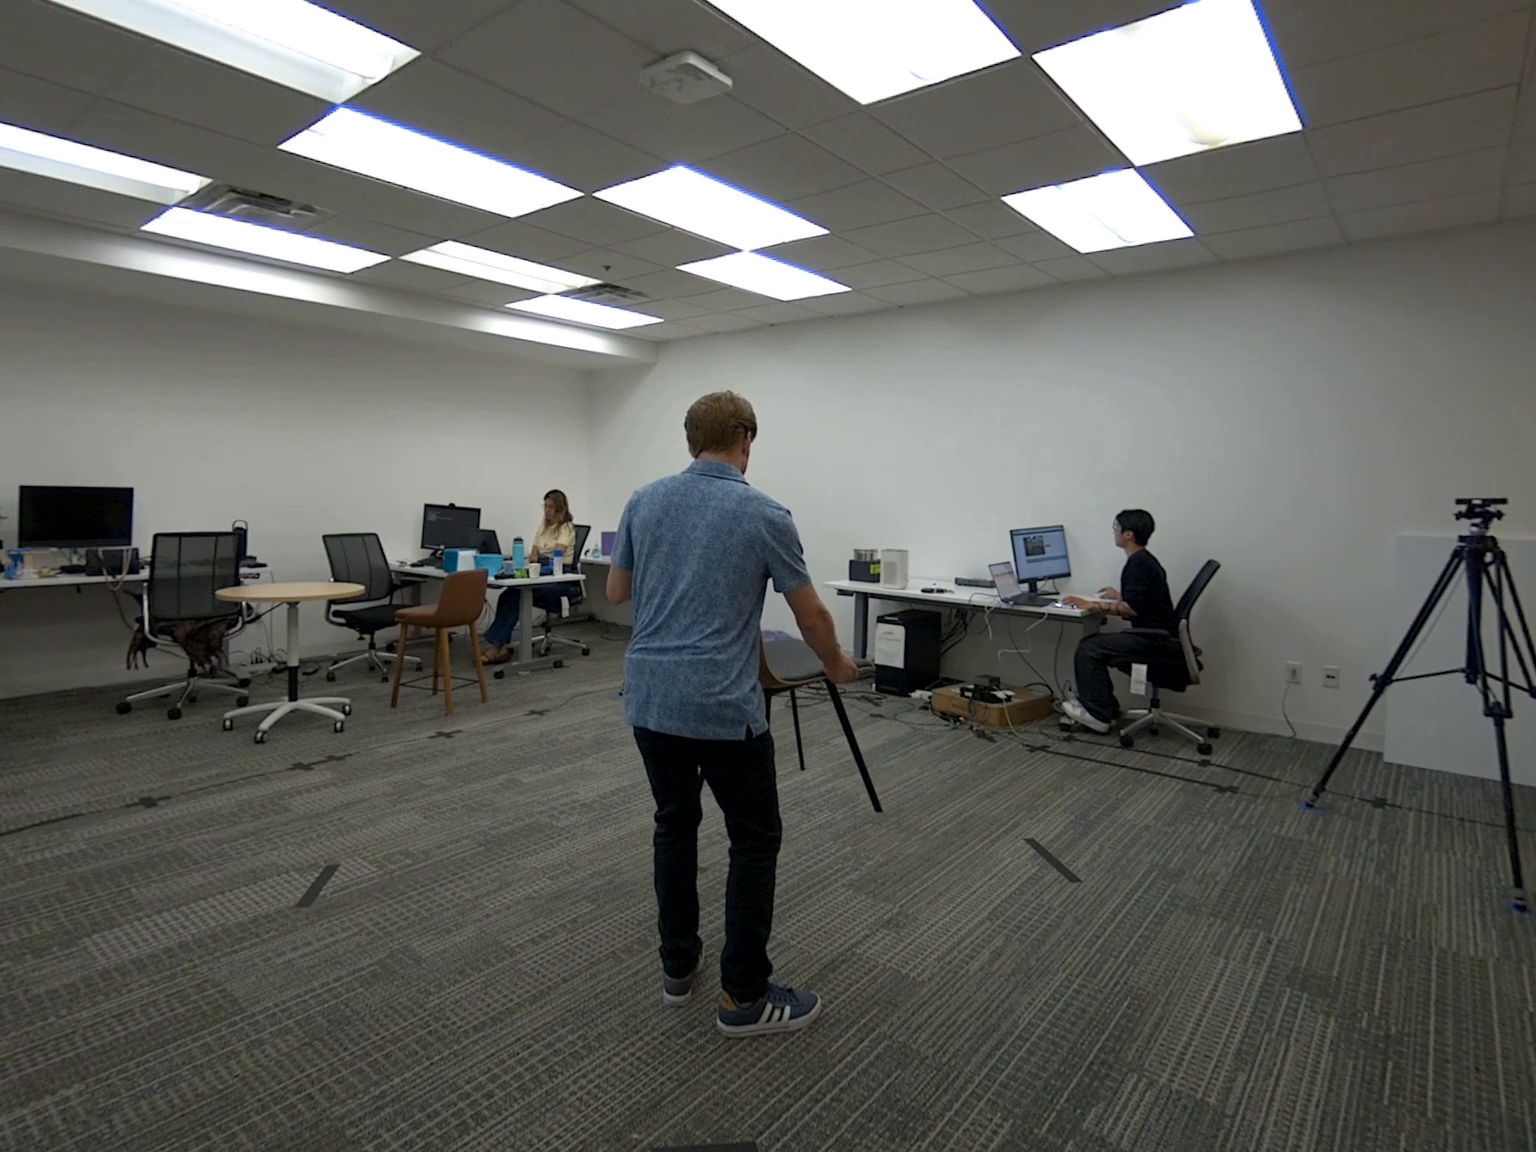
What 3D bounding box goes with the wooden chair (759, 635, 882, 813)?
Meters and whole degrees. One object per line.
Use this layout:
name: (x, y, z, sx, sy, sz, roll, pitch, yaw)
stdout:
wooden chair: (0.024, 0.334, 2.747, 0.512, 0.870, 0.492, -11, 9, -28)
